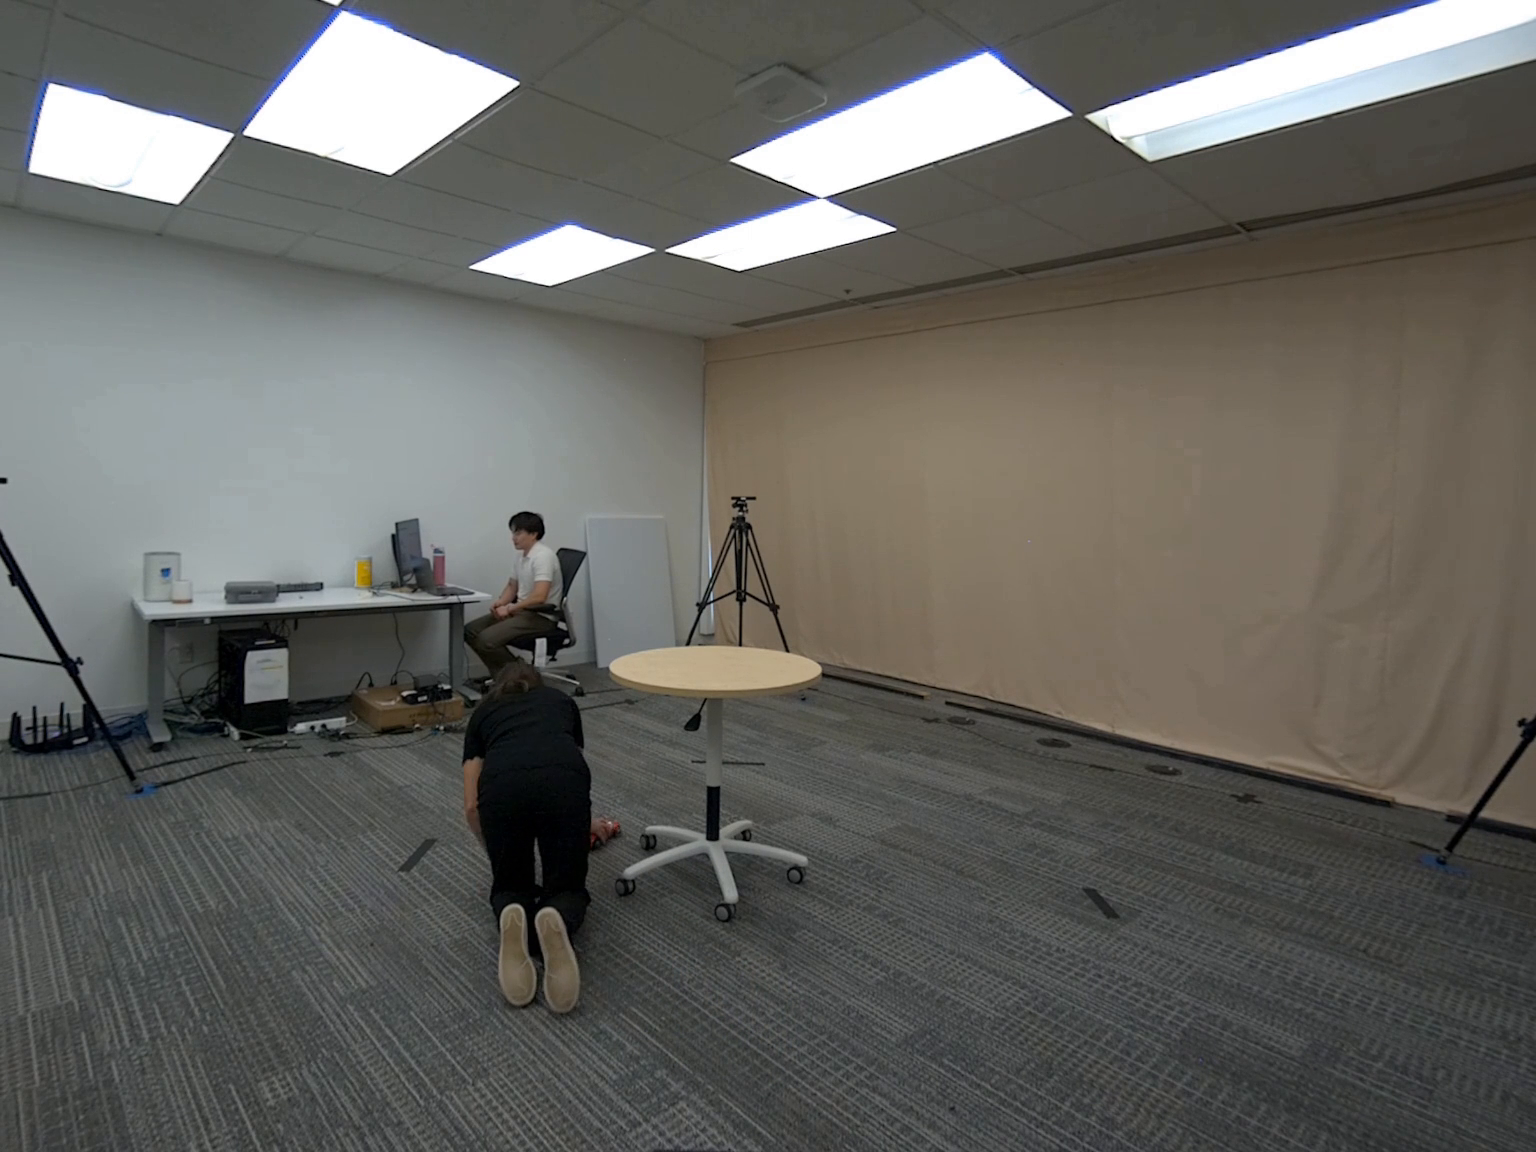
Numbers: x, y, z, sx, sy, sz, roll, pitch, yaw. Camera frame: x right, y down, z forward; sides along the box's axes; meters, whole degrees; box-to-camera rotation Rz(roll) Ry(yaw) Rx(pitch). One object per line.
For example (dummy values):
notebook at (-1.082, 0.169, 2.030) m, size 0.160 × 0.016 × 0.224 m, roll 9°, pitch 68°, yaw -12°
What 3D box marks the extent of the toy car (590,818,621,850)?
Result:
toy car at (-0.714, 1.040, 3.374) m, size 0.133 × 0.083 × 0.249 m, roll 4°, pitch -4°, yaw 25°
